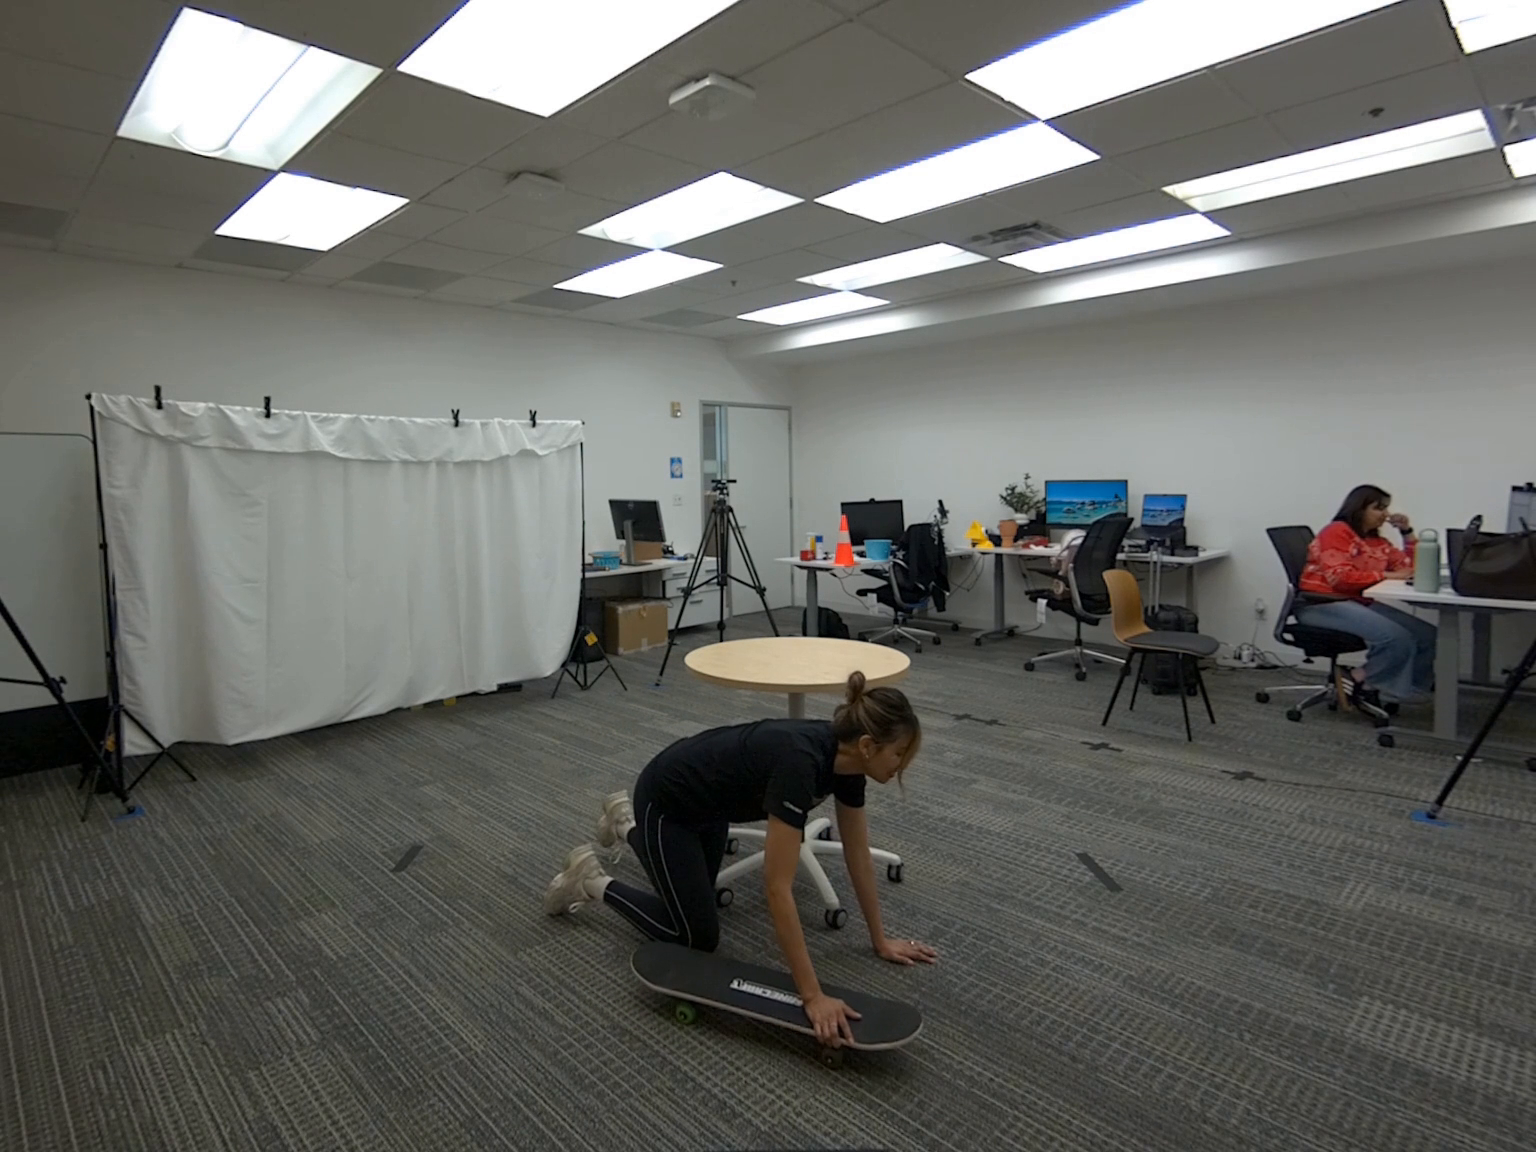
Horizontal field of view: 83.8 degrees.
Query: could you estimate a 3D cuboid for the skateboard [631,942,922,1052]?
[{"bbox_3d":[-0.005,1.103,2.188,0.804,0.110,0.190,2,8,25],"label":"skateboard"}]
